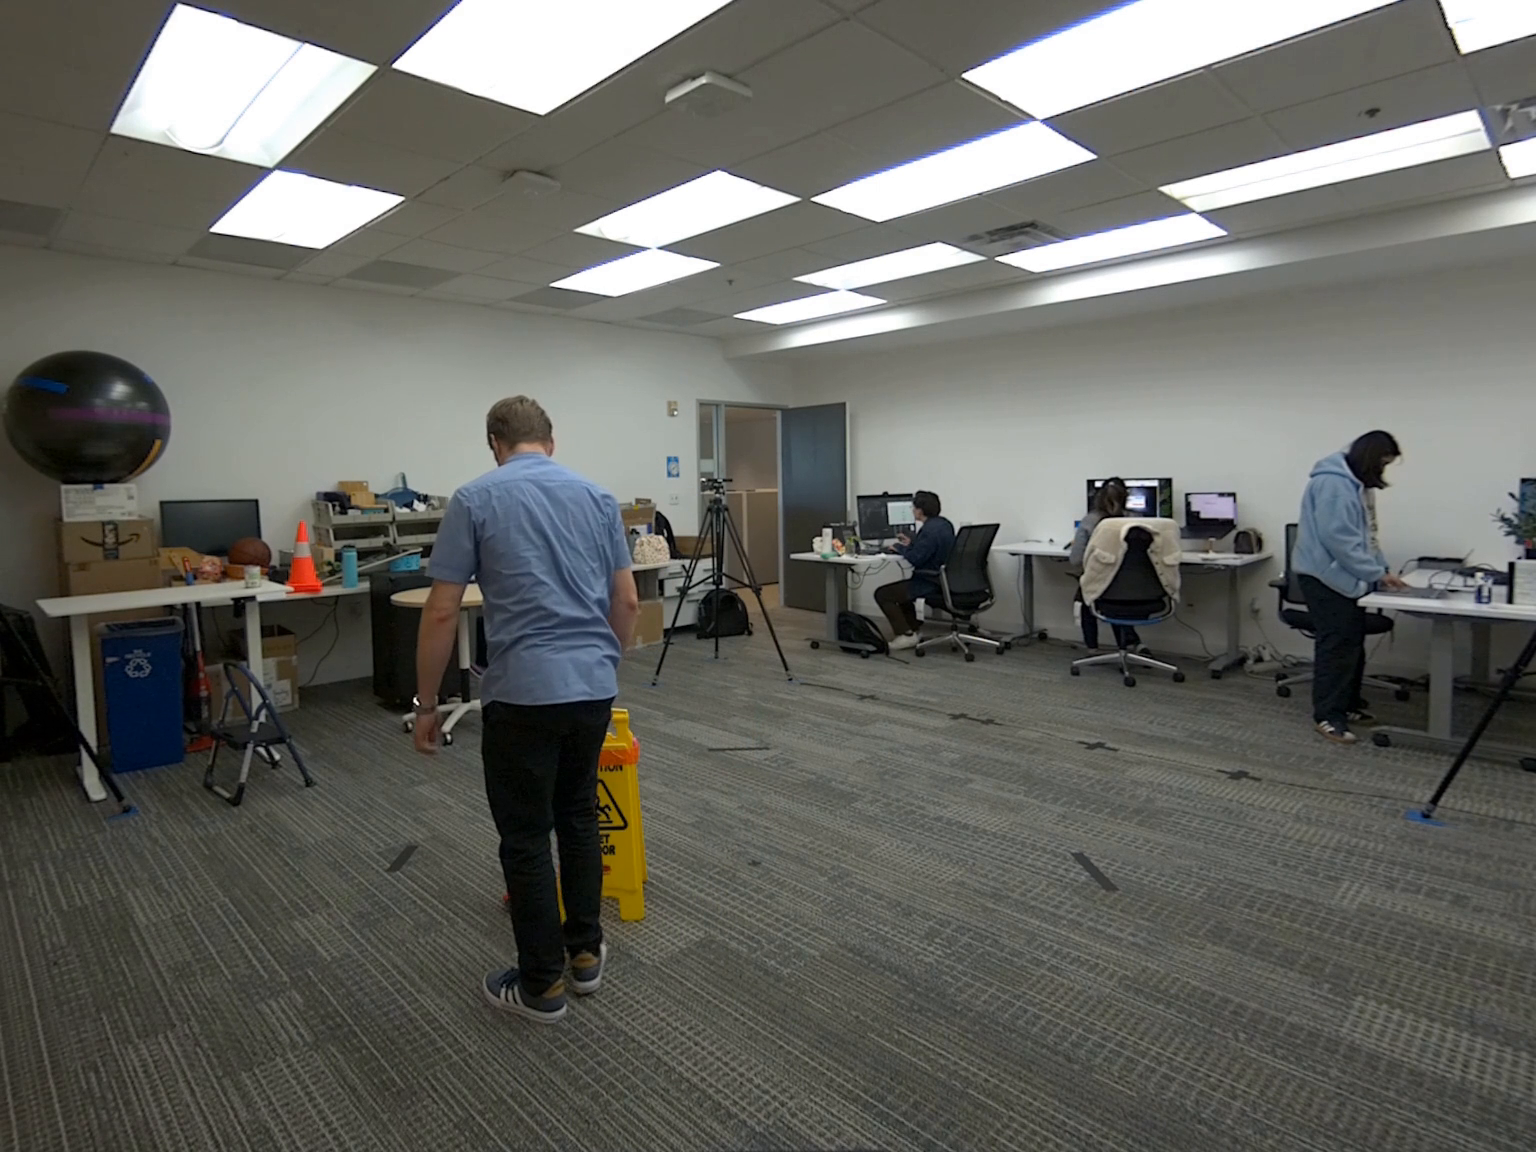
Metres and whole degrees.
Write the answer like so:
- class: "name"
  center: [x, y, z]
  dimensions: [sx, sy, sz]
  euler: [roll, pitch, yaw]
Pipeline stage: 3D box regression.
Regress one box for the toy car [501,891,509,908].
- class: "toy car"
  center: [-0.745, 1.061, 2.836]
  dimensions: [0.255, 0.083, 0.130]
  euler: [-11, 5, 2]
